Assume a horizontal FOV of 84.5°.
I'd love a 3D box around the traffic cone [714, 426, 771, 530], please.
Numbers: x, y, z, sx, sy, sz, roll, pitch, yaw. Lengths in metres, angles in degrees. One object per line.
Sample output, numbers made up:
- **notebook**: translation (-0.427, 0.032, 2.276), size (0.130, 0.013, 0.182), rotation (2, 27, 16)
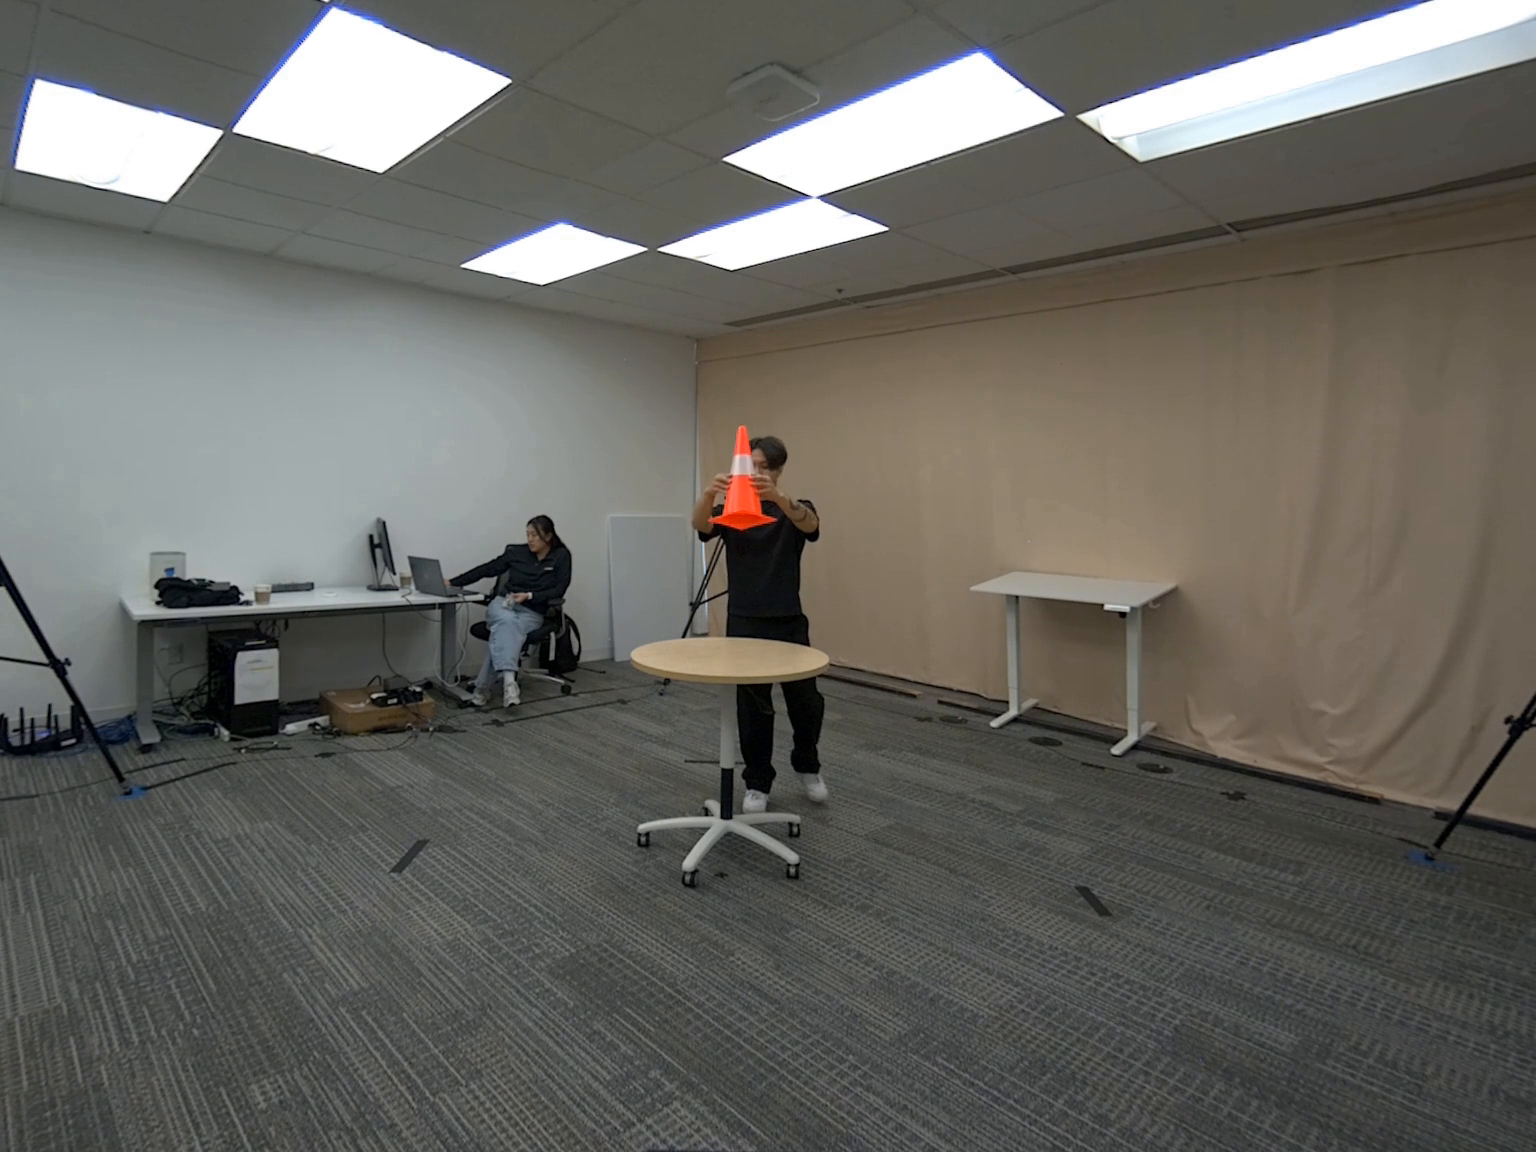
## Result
- **traffic cone**: translation (-0.107, -0.398, 3.291), size (0.209, 0.387, 0.198), rotation (-8, -13, 37)
